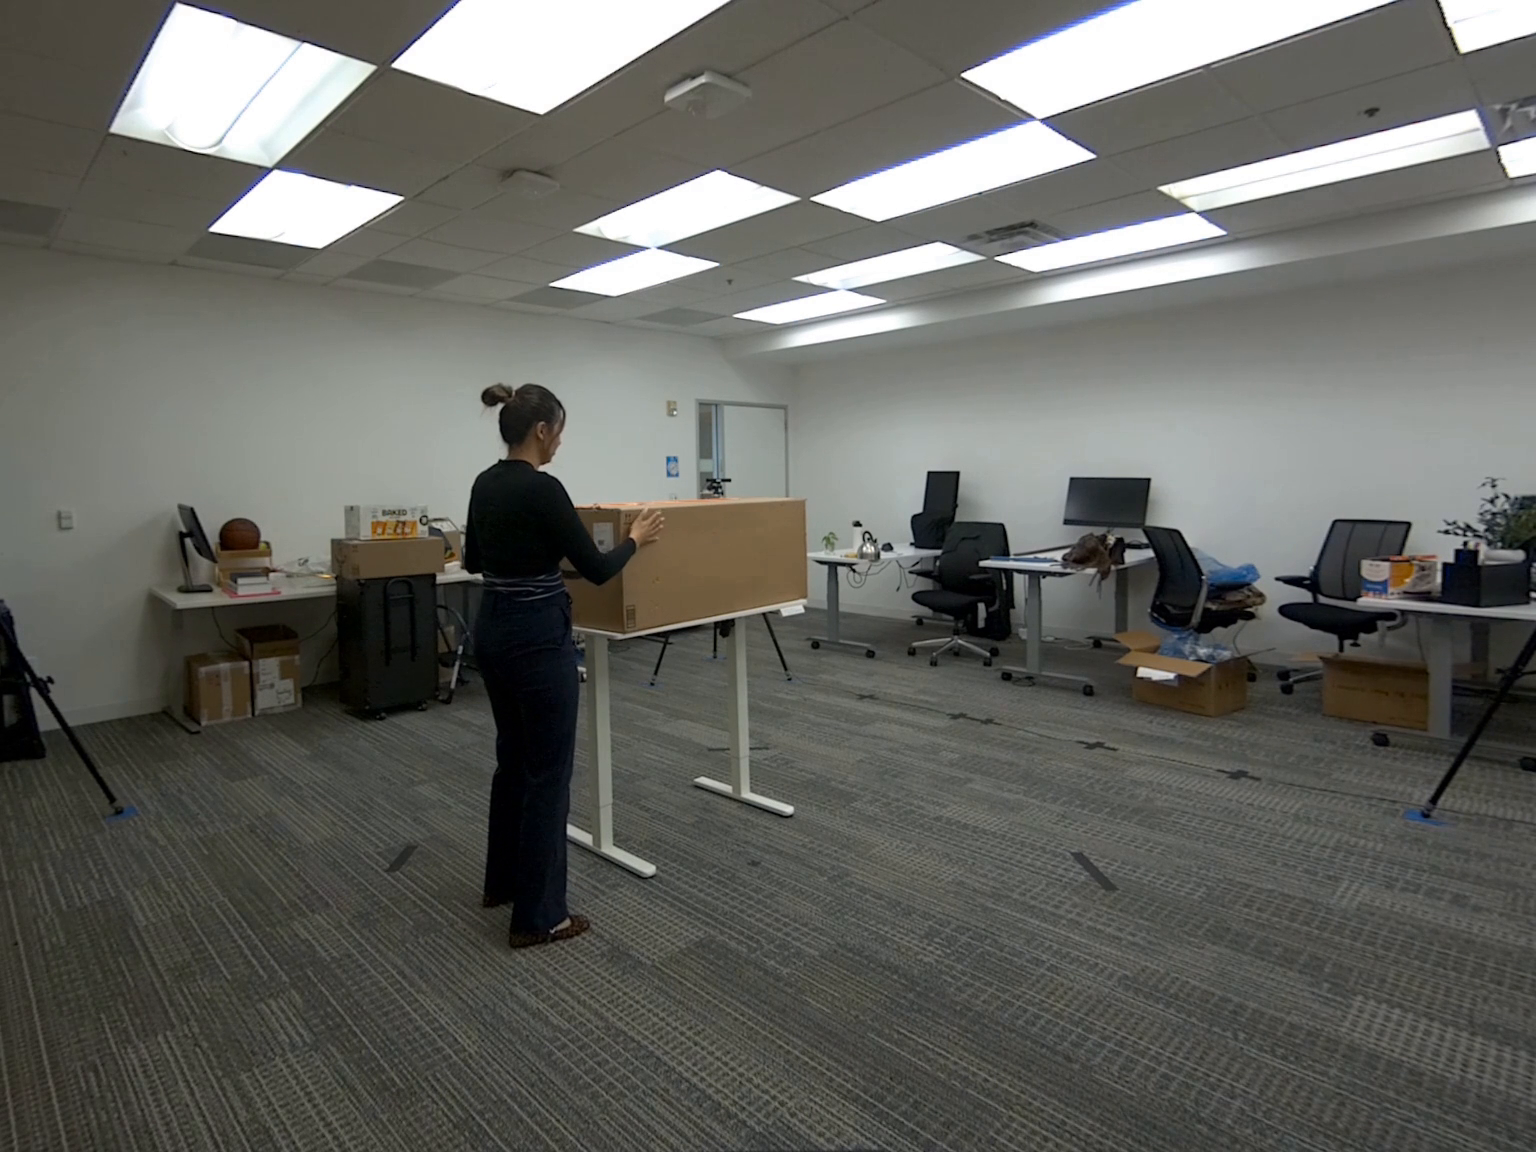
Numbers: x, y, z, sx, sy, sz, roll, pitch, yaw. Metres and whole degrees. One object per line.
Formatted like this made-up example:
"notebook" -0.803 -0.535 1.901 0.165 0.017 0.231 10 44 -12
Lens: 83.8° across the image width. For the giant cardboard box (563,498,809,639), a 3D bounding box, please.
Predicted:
"giant cardboard box" -0.375 -0.080 3.419 0.595 0.424 1.000 3 8 41
